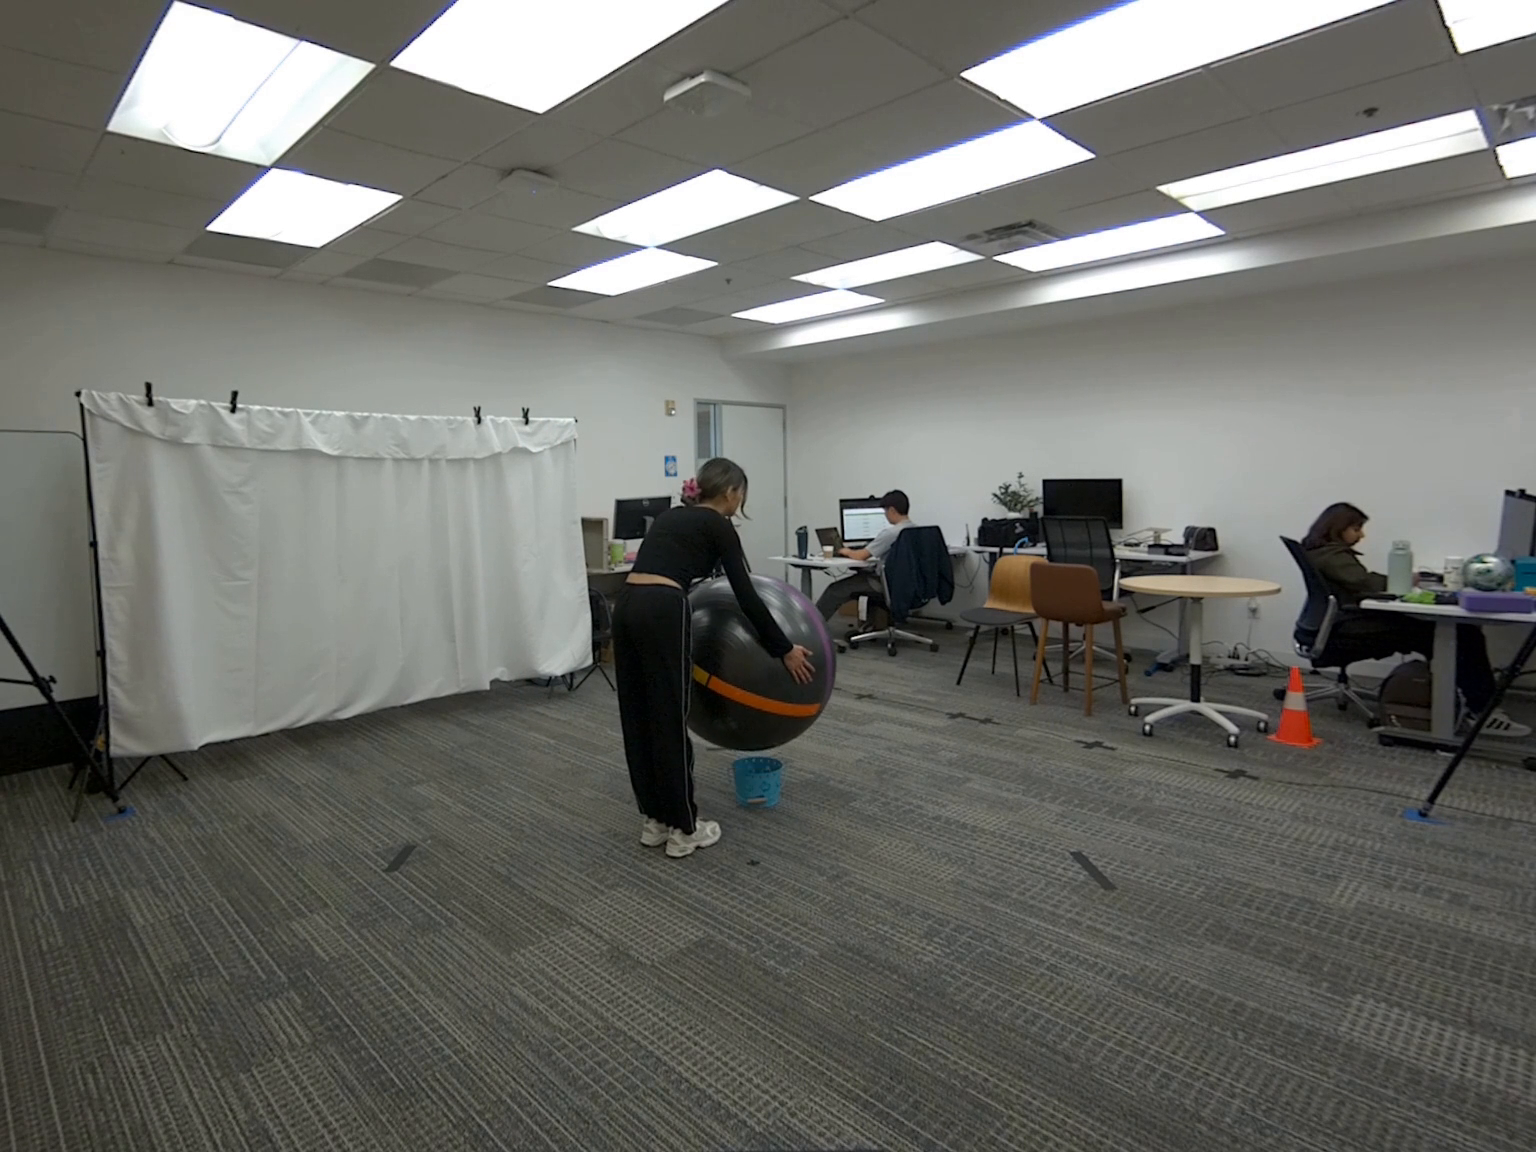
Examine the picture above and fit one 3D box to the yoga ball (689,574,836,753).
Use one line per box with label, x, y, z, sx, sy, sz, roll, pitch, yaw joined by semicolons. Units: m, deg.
yoga ball;-0.084;0.365;3.678;0.757;0.755;0.762;-1;5;-2
